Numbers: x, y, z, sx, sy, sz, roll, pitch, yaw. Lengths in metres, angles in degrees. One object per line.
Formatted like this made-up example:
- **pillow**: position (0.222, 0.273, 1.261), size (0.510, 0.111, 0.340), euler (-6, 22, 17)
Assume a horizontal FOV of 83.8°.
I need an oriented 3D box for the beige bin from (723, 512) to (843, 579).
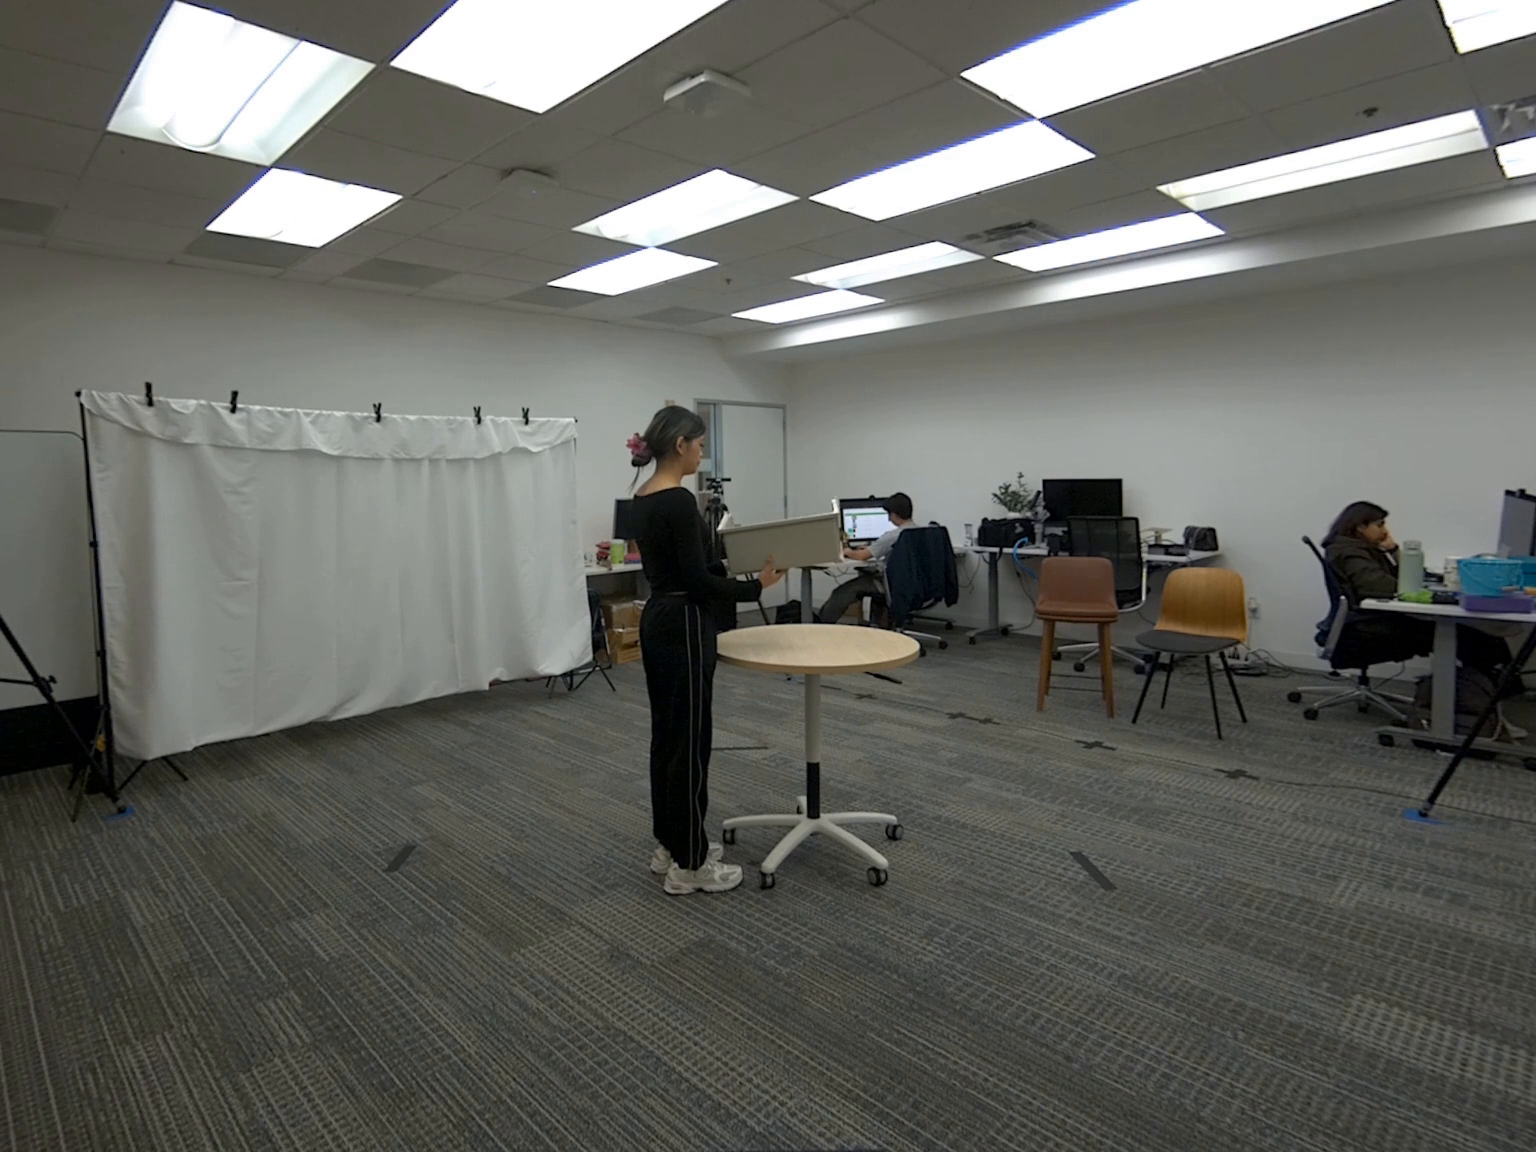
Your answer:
- **beige bin**: position (0.052, -0.139, 3.116), size (0.425, 0.186, 0.381), euler (-10, 15, 6)
